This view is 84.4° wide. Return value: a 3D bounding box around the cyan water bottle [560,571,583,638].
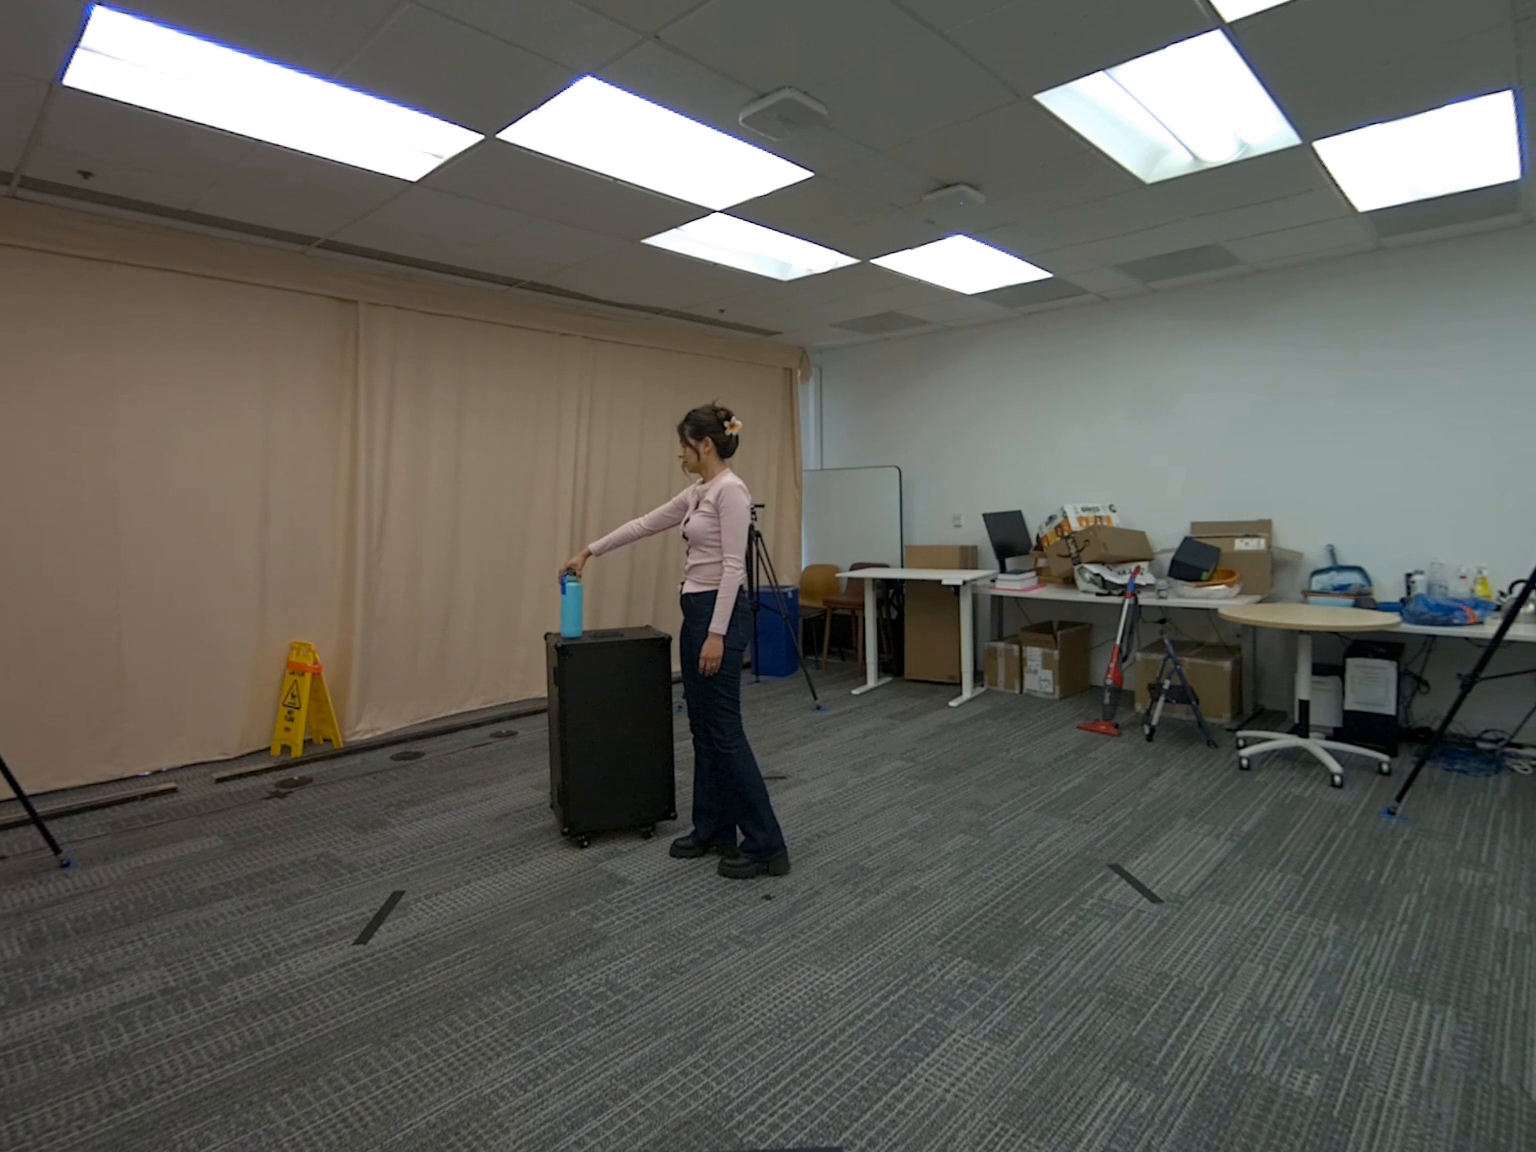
[{"bbox_3d":[-0.829,0.109,3.553,0.092,0.283,0.092,-1,4,-2],"label":"cyan water bottle"}]
